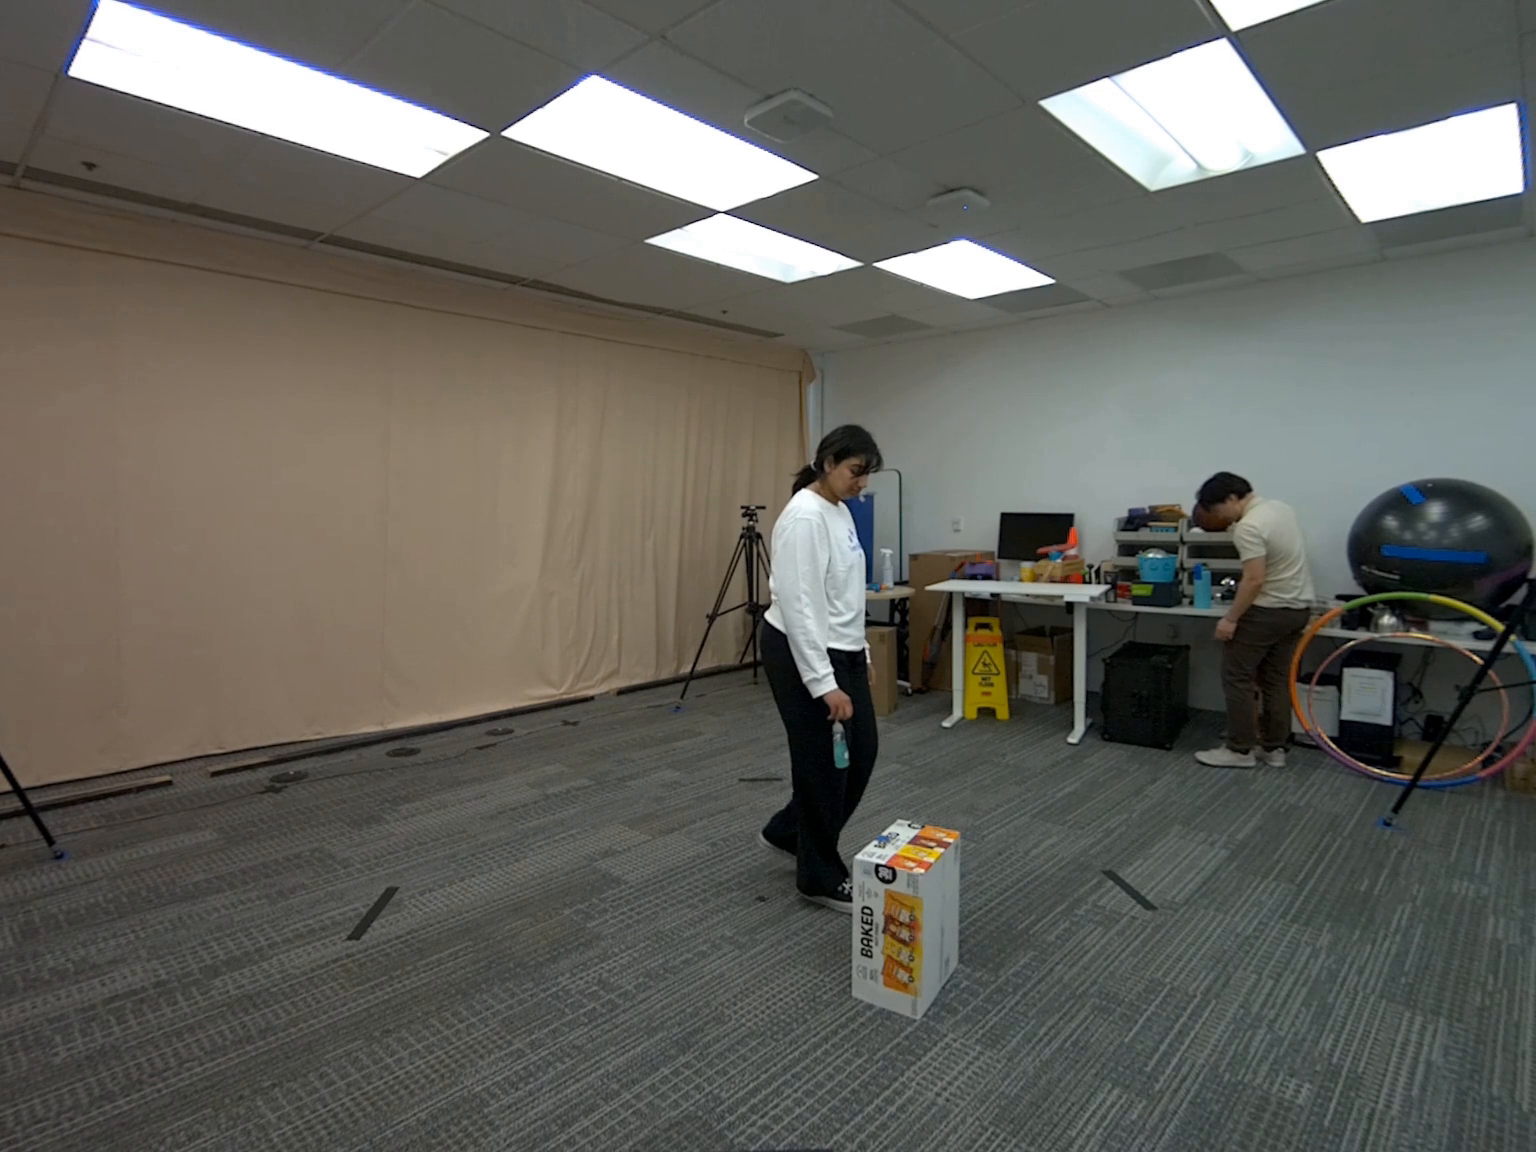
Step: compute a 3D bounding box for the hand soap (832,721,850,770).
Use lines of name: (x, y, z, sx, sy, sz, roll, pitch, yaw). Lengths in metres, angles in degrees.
hand soap: (0.234, 0.521, 2.697, 0.044, 0.168, 0.084, -6, 1, 7)
